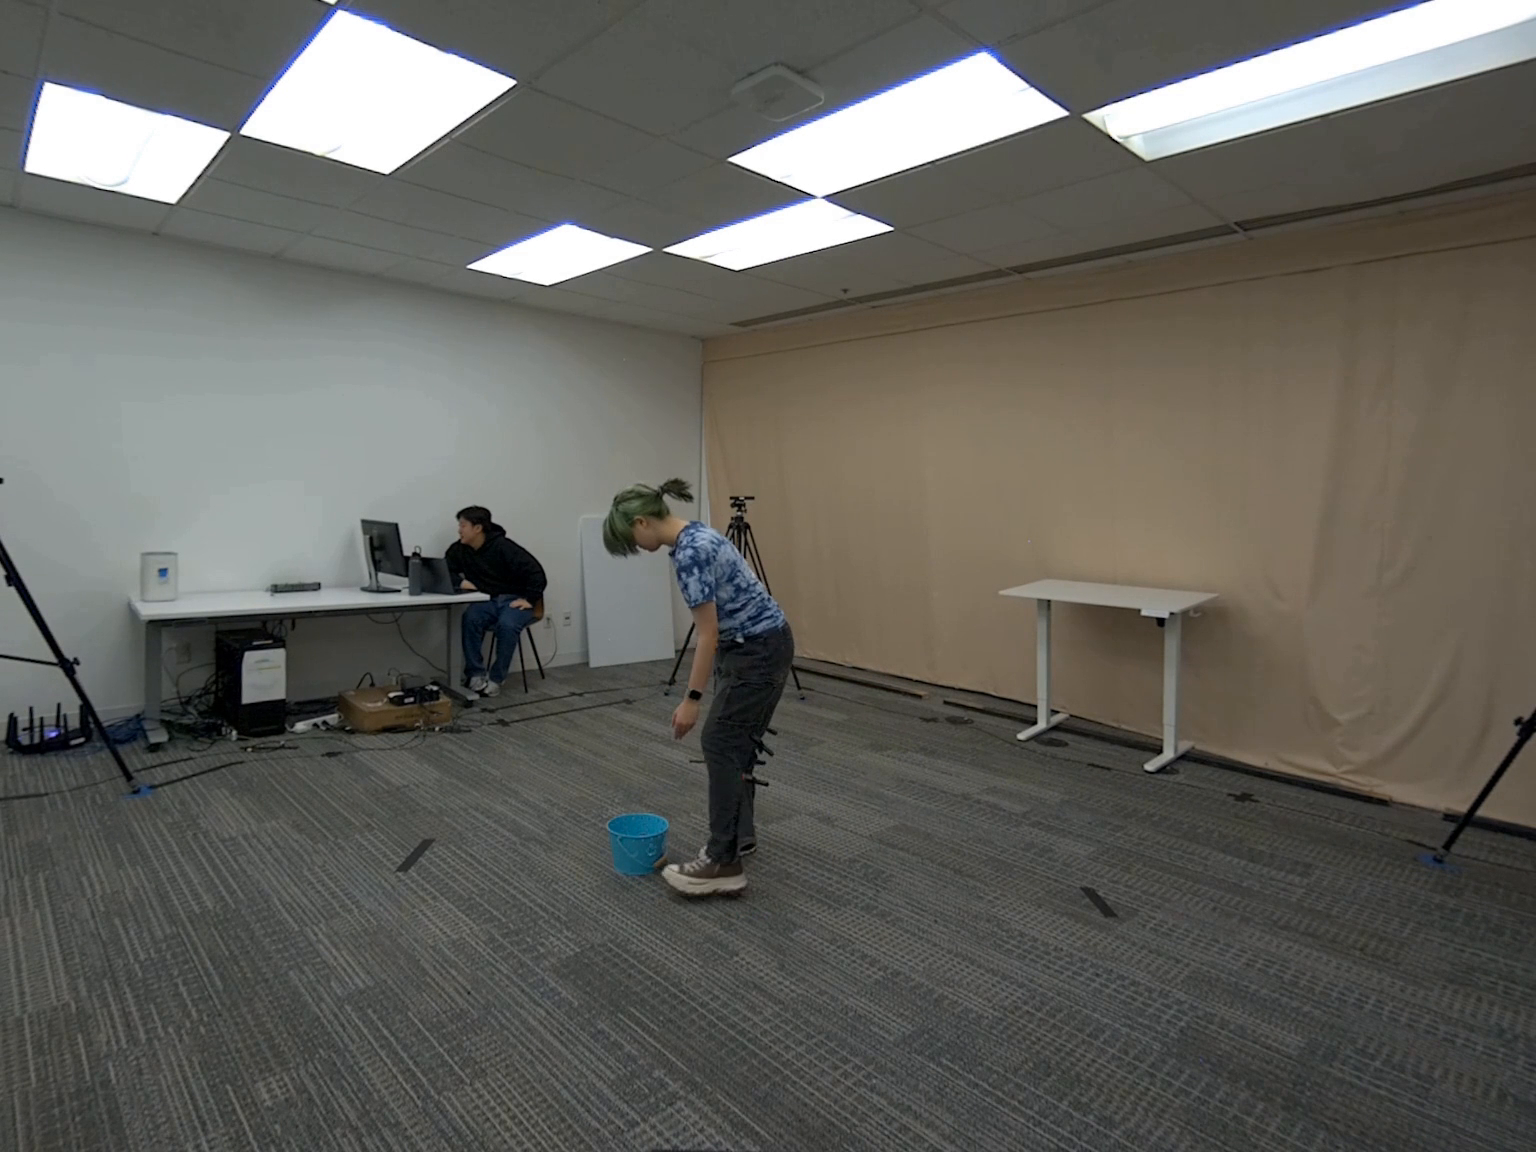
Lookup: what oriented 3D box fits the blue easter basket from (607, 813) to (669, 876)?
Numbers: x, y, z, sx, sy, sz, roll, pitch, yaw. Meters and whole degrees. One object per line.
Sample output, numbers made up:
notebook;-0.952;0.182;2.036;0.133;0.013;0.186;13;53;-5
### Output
blue easter basket;-0.498;1.011;3.171;0.243;0.155;0.244;2;5;-1
